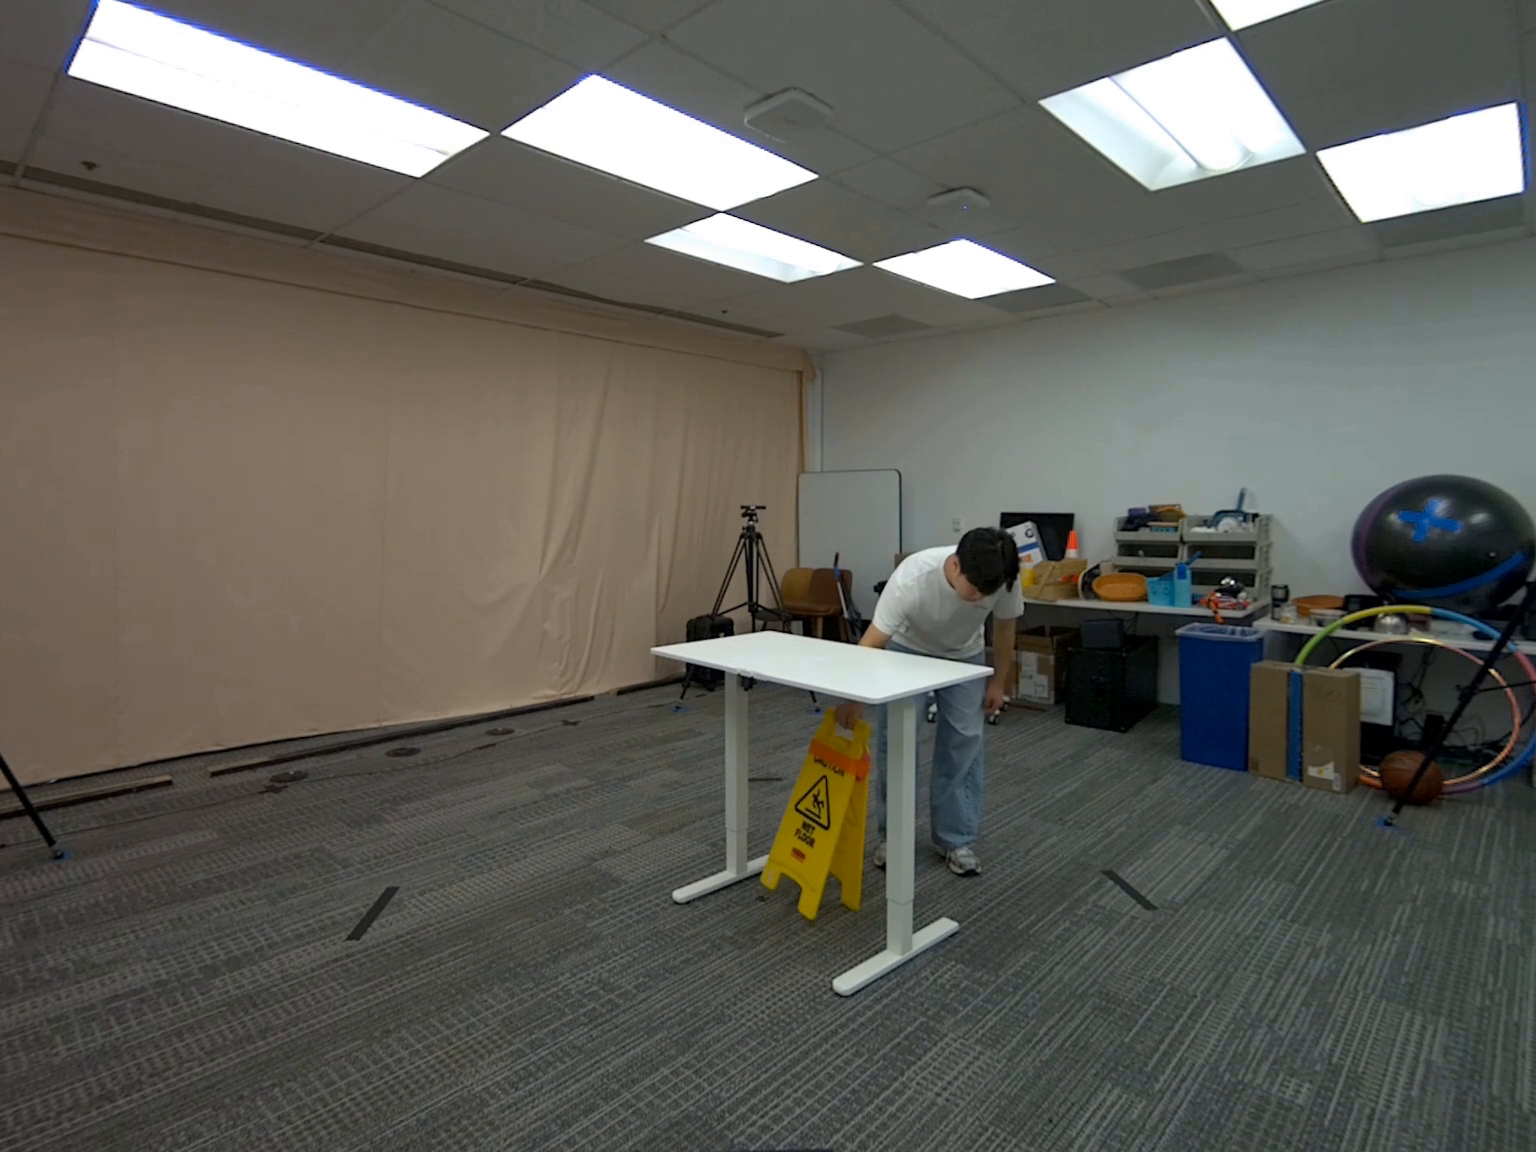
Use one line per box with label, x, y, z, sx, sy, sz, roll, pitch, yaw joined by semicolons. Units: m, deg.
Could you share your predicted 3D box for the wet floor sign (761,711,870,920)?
wet floor sign;0.220;0.794;2.908;0.280;0.645;0.292;9;4;-39
